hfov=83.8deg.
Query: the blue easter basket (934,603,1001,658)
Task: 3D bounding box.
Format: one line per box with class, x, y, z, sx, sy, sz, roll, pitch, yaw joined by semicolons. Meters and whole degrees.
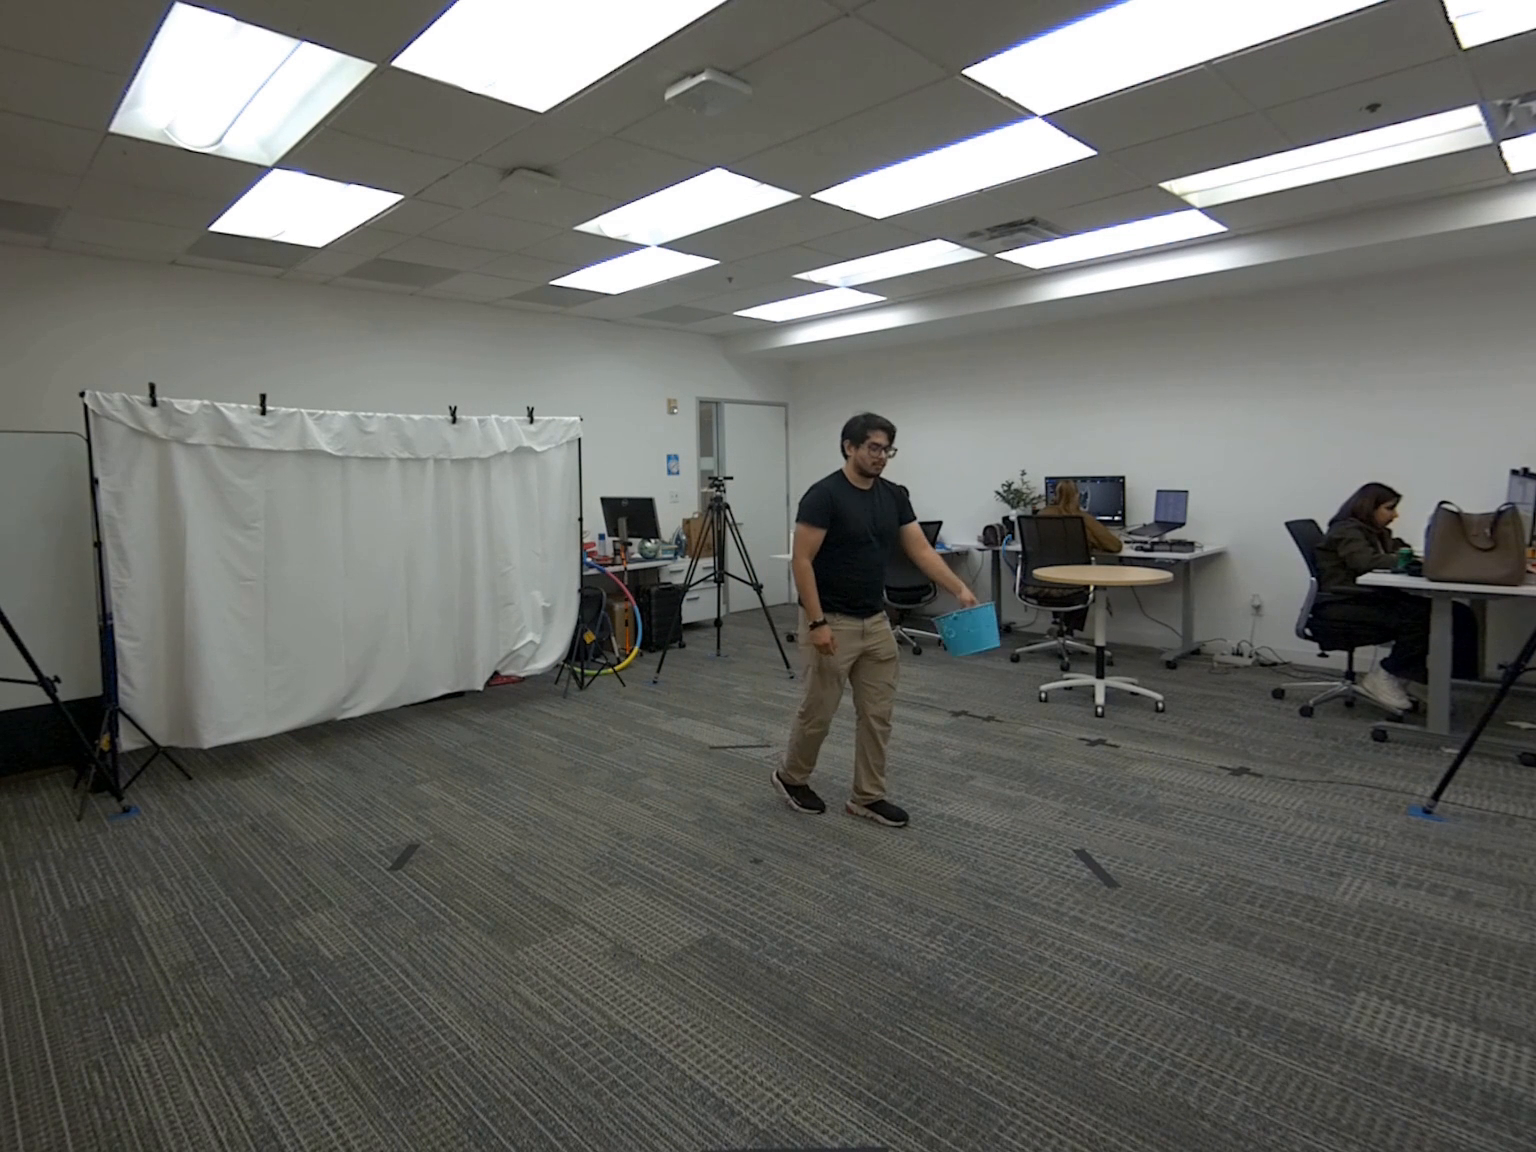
blue easter basket;0.727;0.197;3.099;0.243;0.157;0.242;-15;-7;-4
